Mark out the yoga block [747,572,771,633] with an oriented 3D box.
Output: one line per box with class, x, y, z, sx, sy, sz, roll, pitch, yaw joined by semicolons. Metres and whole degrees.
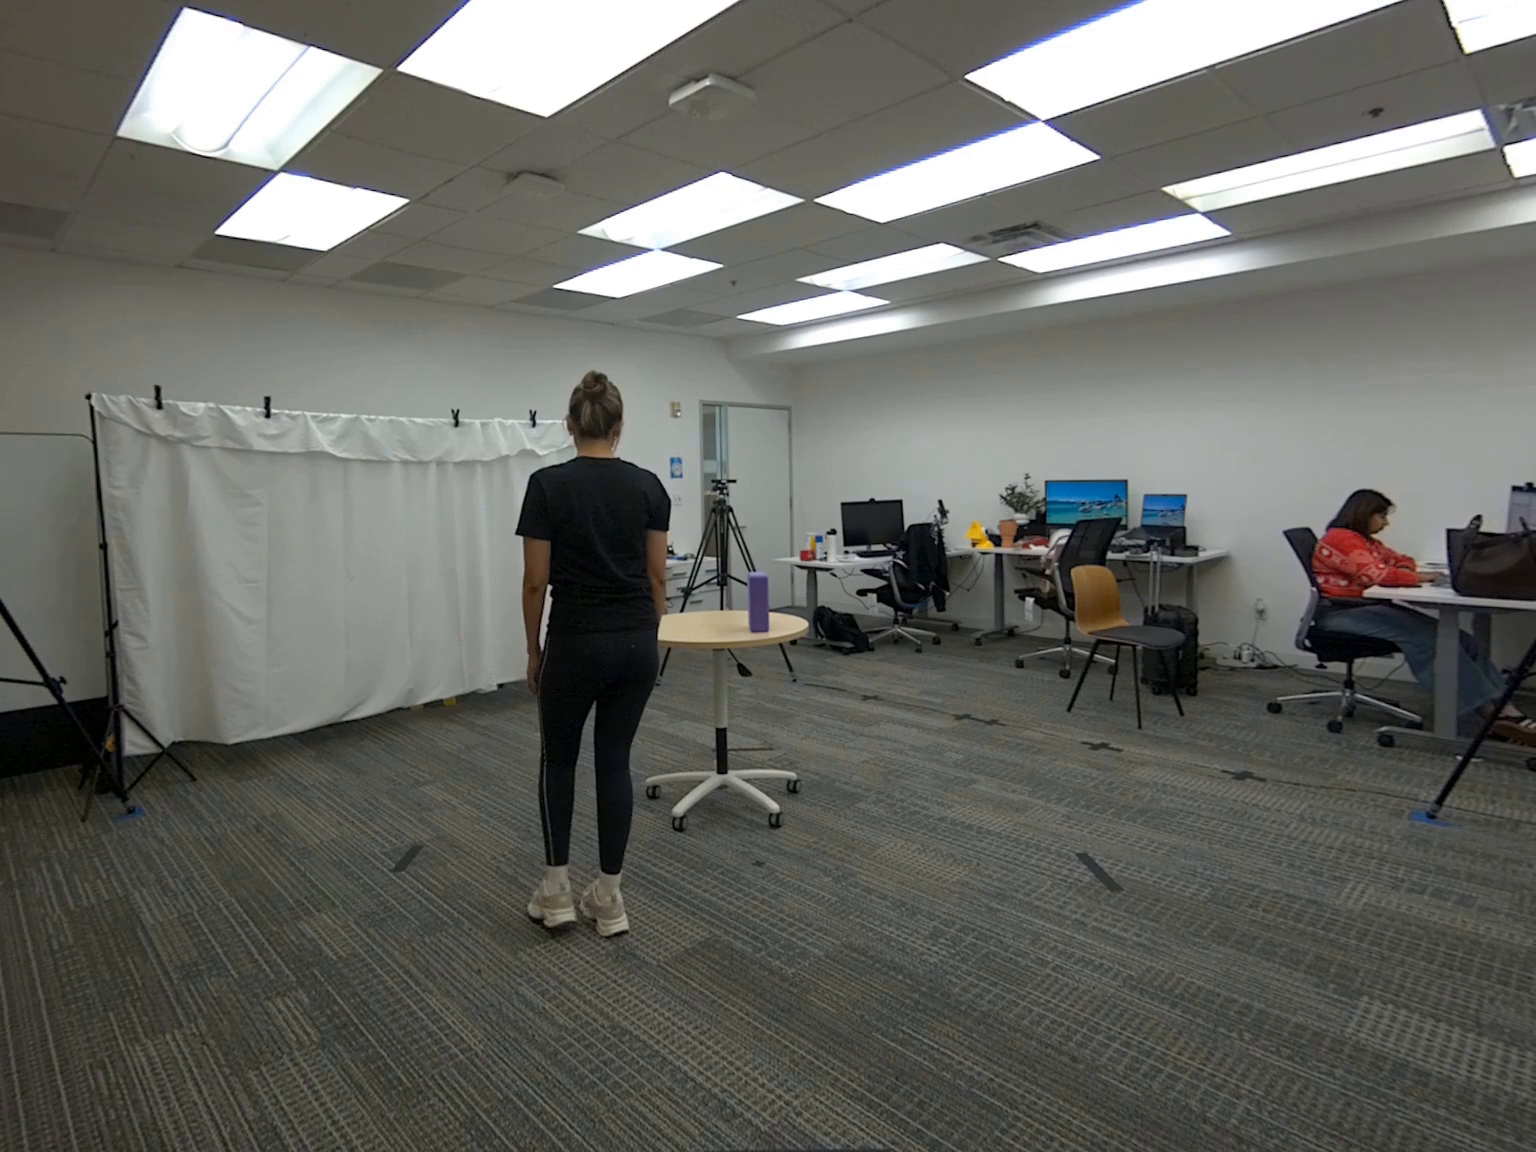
yoga block;-0.042;0.106;3.493;0.076;0.227;0.150;-1;10;1
